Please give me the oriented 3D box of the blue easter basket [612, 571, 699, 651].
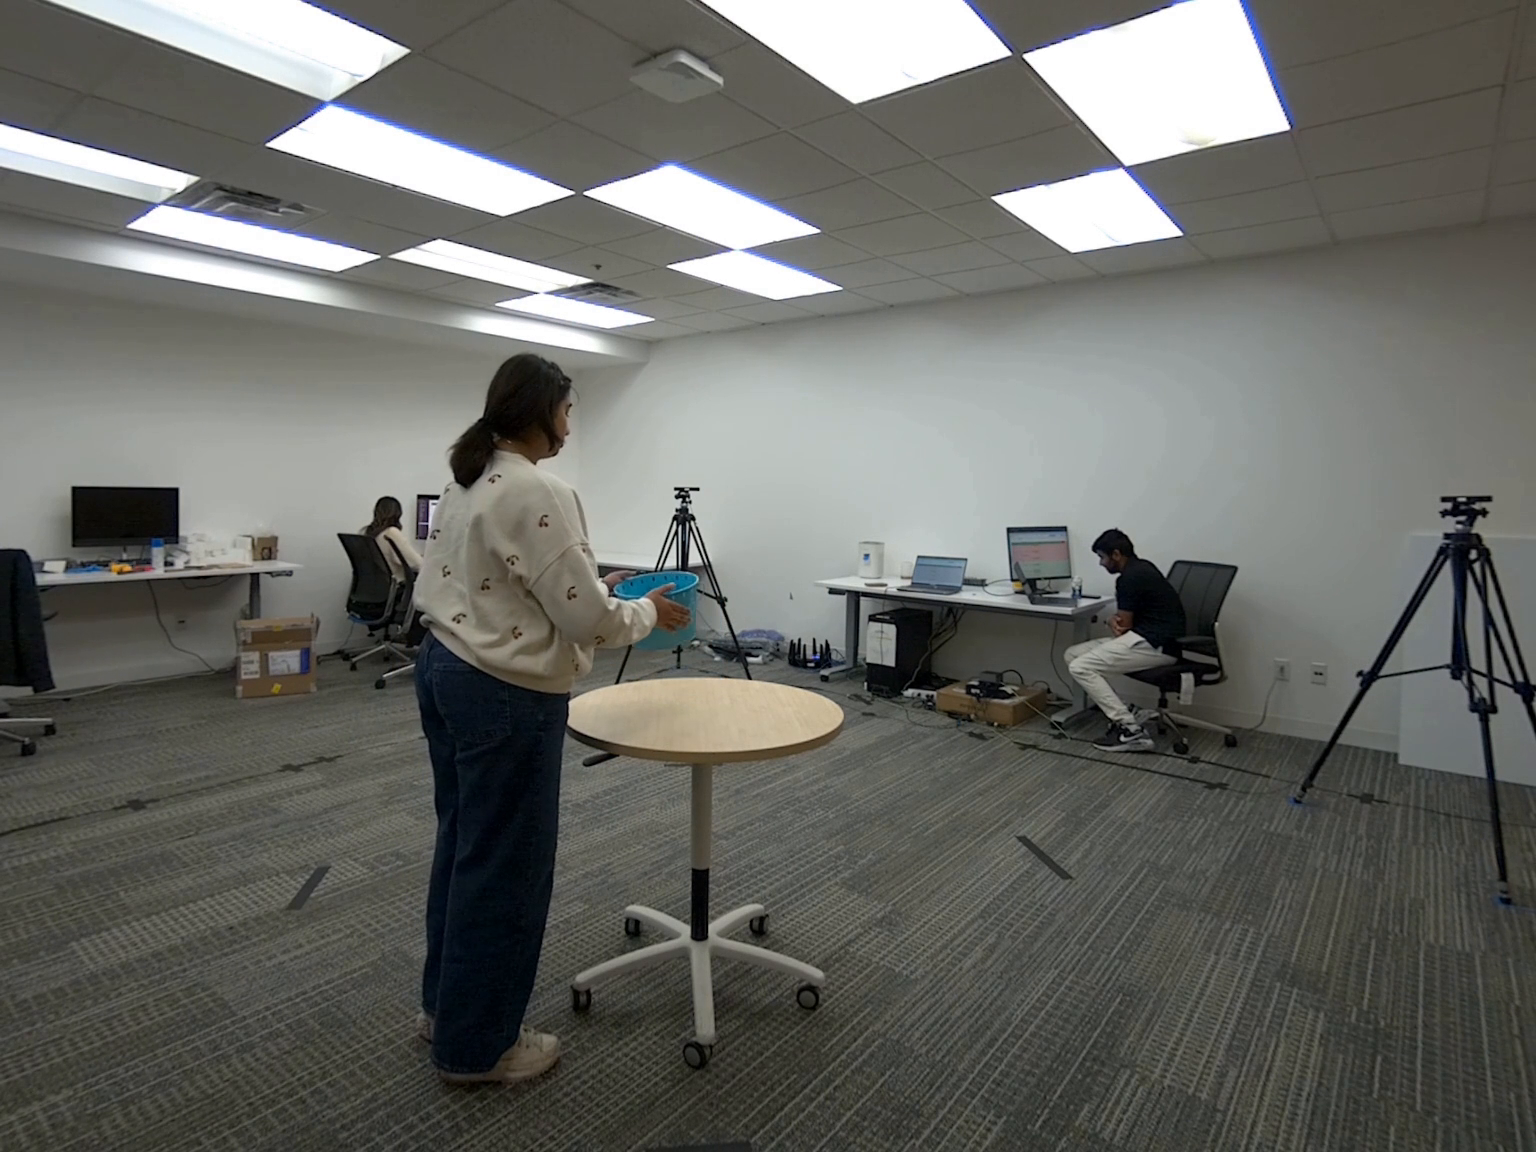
[{"bbox_3d":[-0.292,0.101,2.258,0.244,0.154,0.247,-5,14,-1],"label":"blue easter basket"}]
